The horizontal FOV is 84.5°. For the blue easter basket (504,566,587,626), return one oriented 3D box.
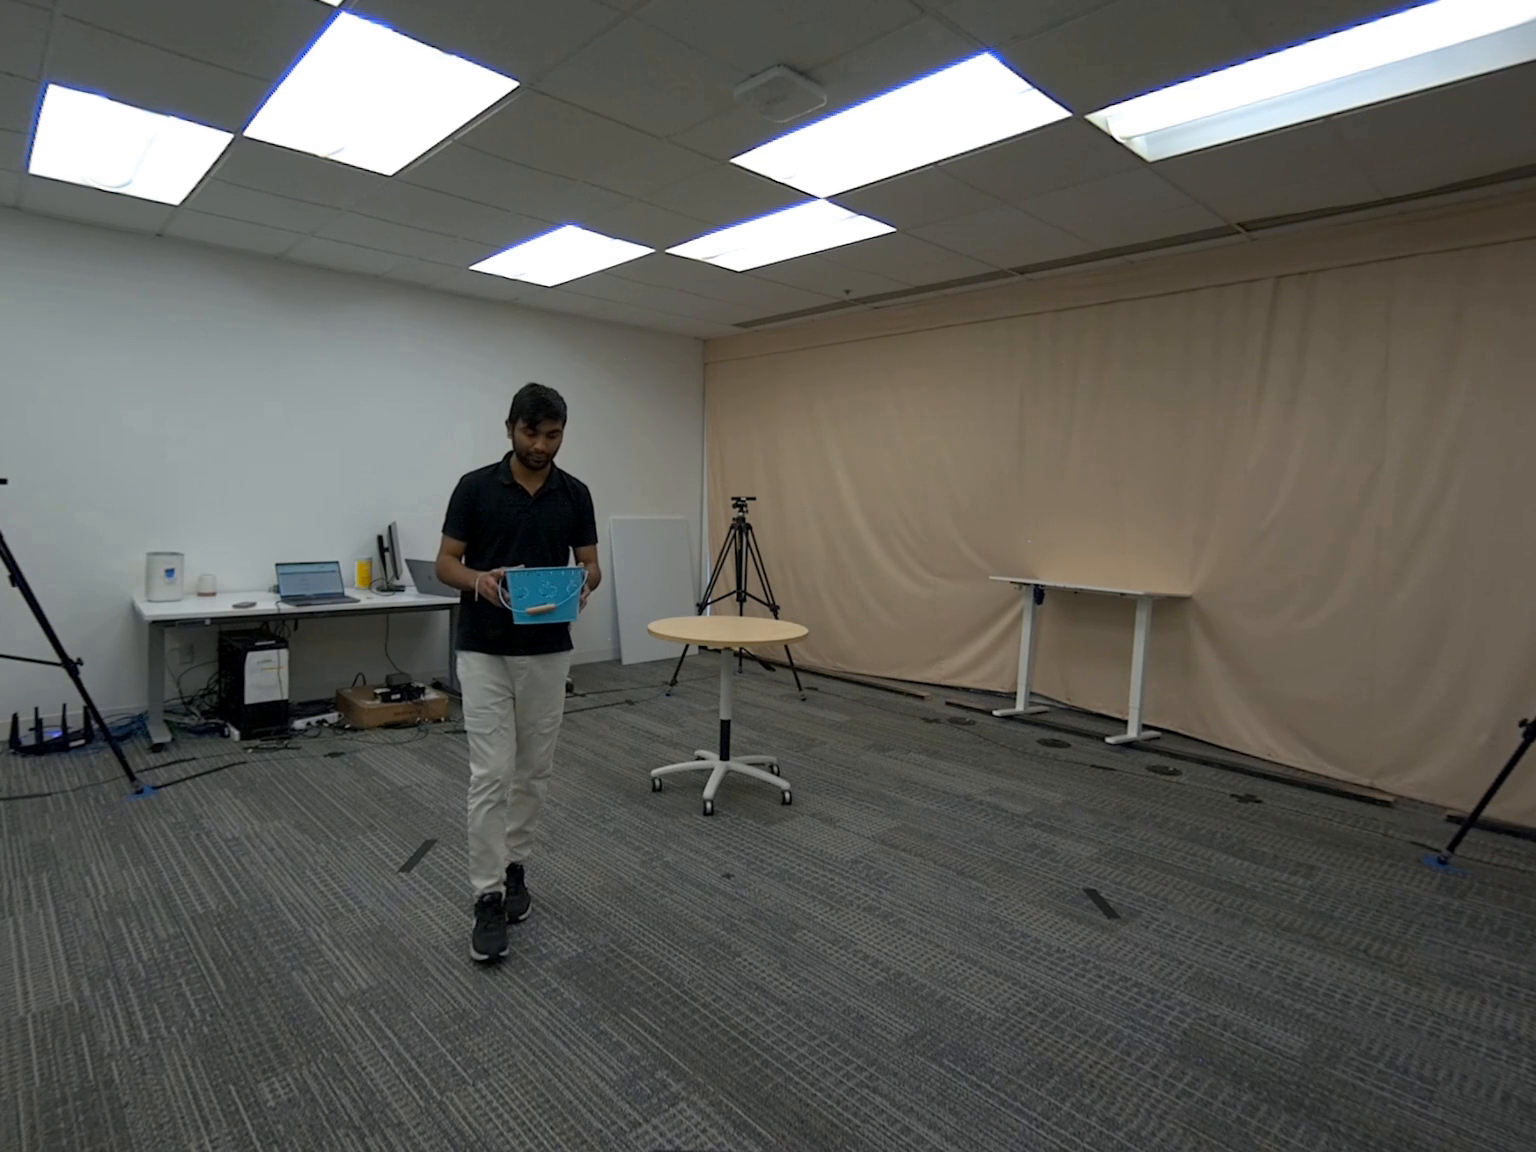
[{"bbox_3d":[-0.659,0.059,2.397,0.243,0.156,0.244,-1,0,-1],"label":"blue easter basket"}]
